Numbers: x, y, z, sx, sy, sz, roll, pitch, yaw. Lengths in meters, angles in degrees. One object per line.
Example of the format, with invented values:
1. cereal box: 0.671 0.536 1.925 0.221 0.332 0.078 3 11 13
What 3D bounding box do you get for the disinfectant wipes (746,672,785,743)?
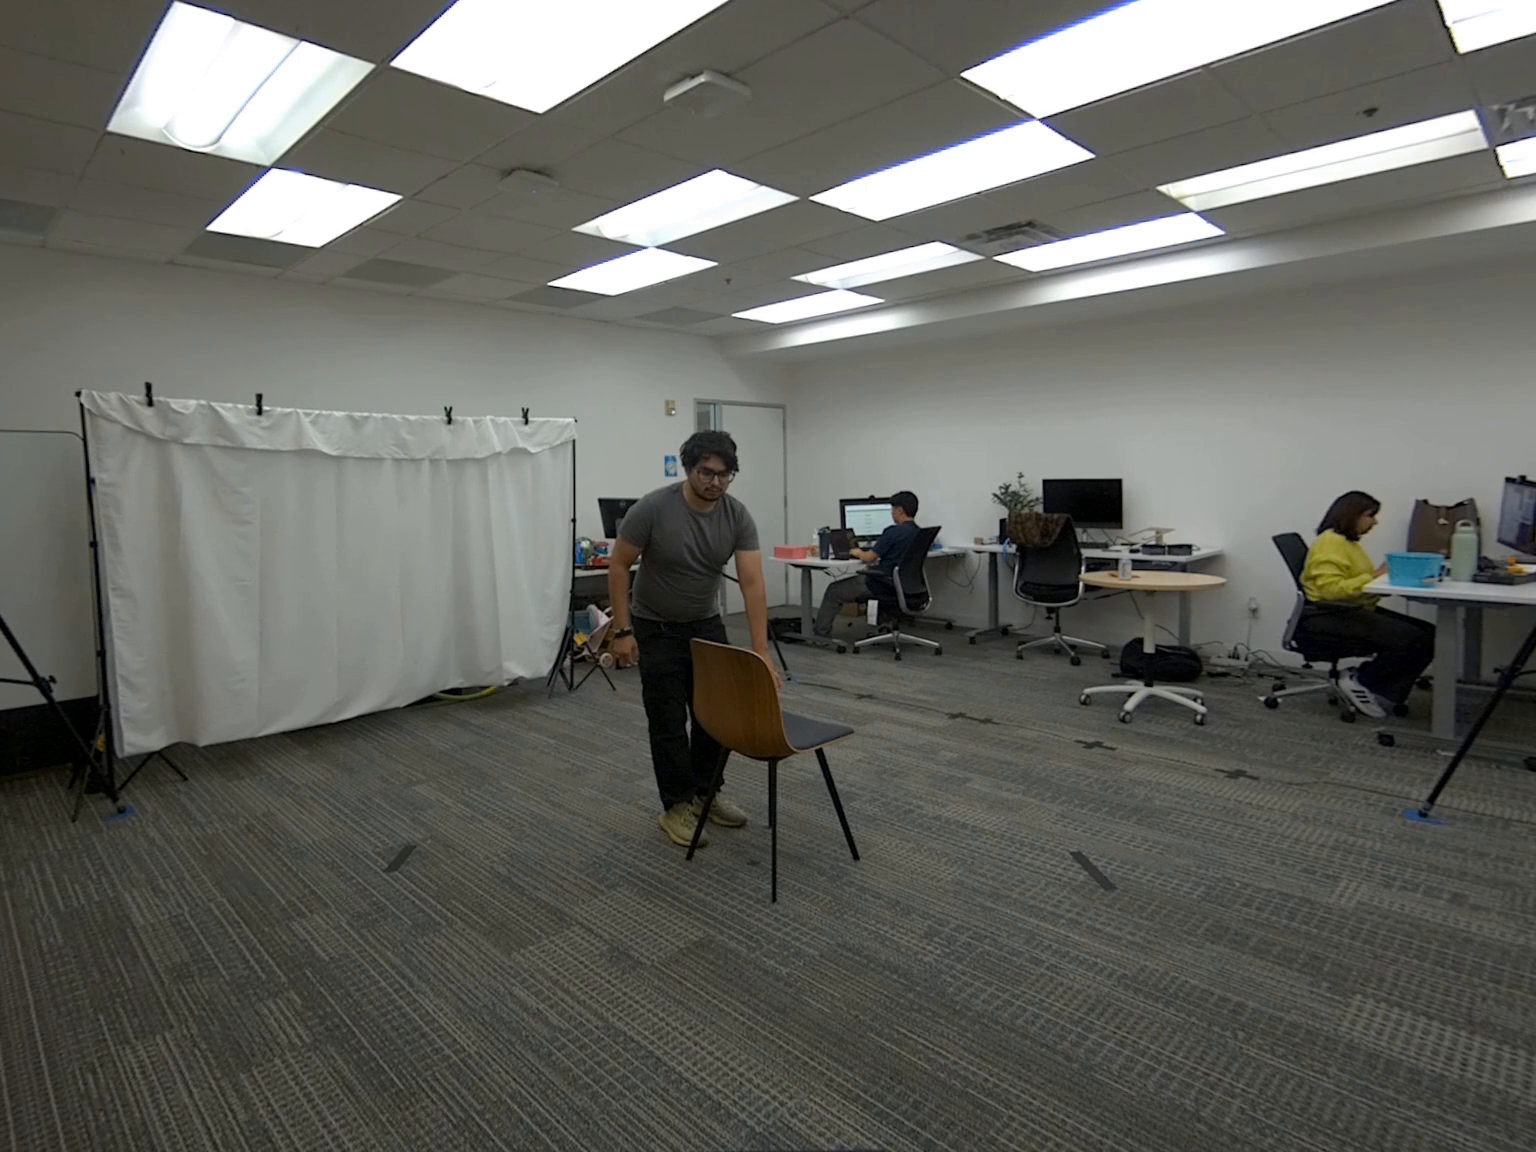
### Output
1. disinfectant wipes: -0.012 0.466 3.061 0.118 0.217 0.118 -4 3 -1
